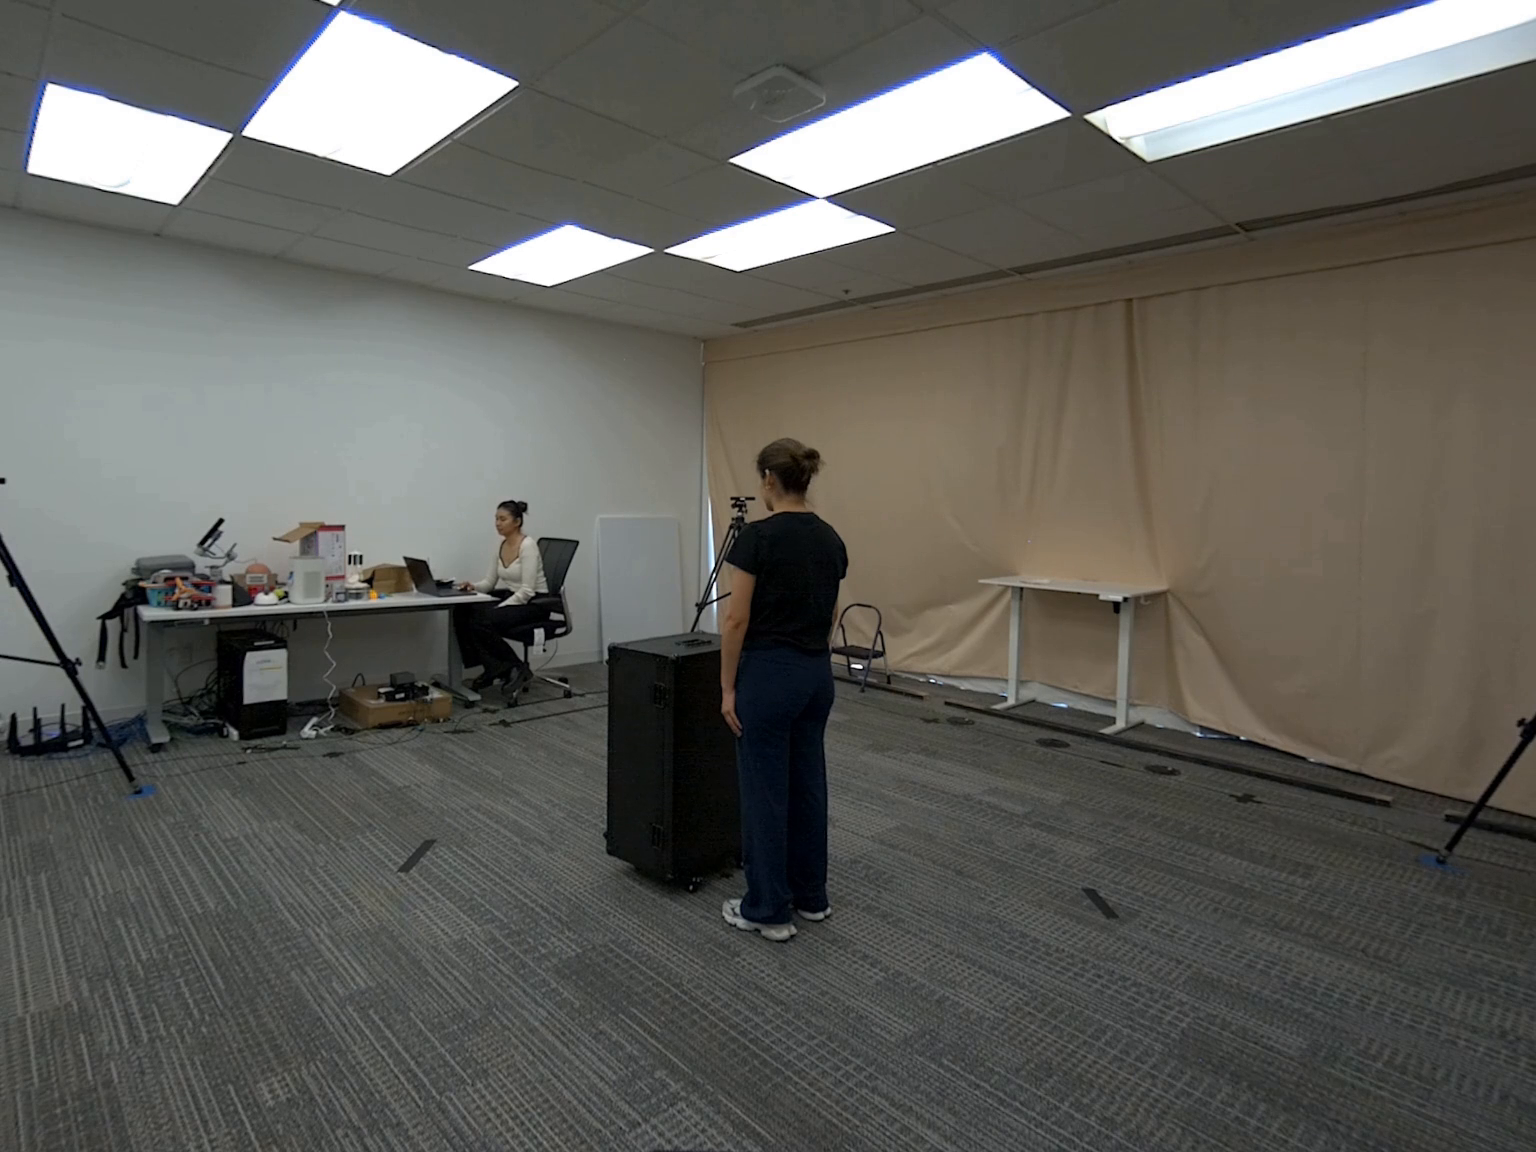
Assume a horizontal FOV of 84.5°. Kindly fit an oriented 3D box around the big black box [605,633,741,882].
[{"bbox_3d":[-0.320,0.677,3.146,0.406,0.860,0.509,2,3,41],"label":"big black box"}]
